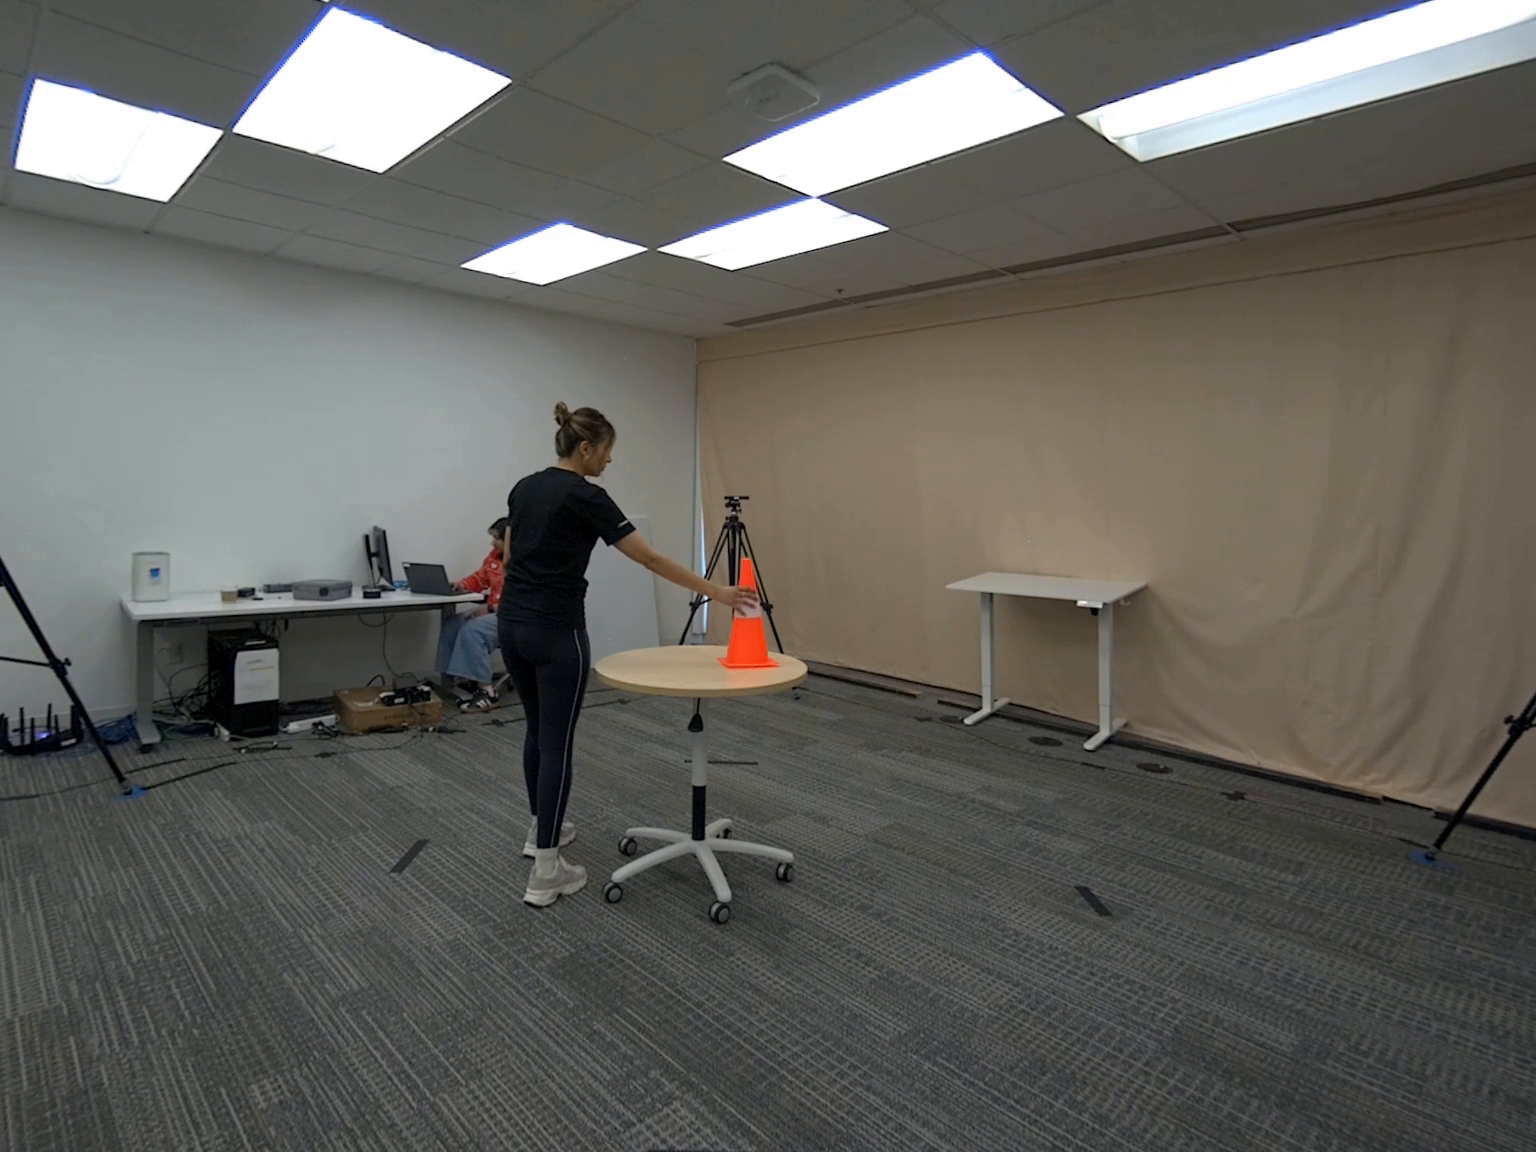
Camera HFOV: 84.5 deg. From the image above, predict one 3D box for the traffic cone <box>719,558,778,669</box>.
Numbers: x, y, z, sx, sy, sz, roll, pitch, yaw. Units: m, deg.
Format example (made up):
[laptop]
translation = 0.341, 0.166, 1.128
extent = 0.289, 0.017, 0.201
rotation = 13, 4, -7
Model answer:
[traffic cone]
translation = -0.085, 0.121, 3.101
extent = 0.198, 0.384, 0.209
rotation = 2, -2, -37
